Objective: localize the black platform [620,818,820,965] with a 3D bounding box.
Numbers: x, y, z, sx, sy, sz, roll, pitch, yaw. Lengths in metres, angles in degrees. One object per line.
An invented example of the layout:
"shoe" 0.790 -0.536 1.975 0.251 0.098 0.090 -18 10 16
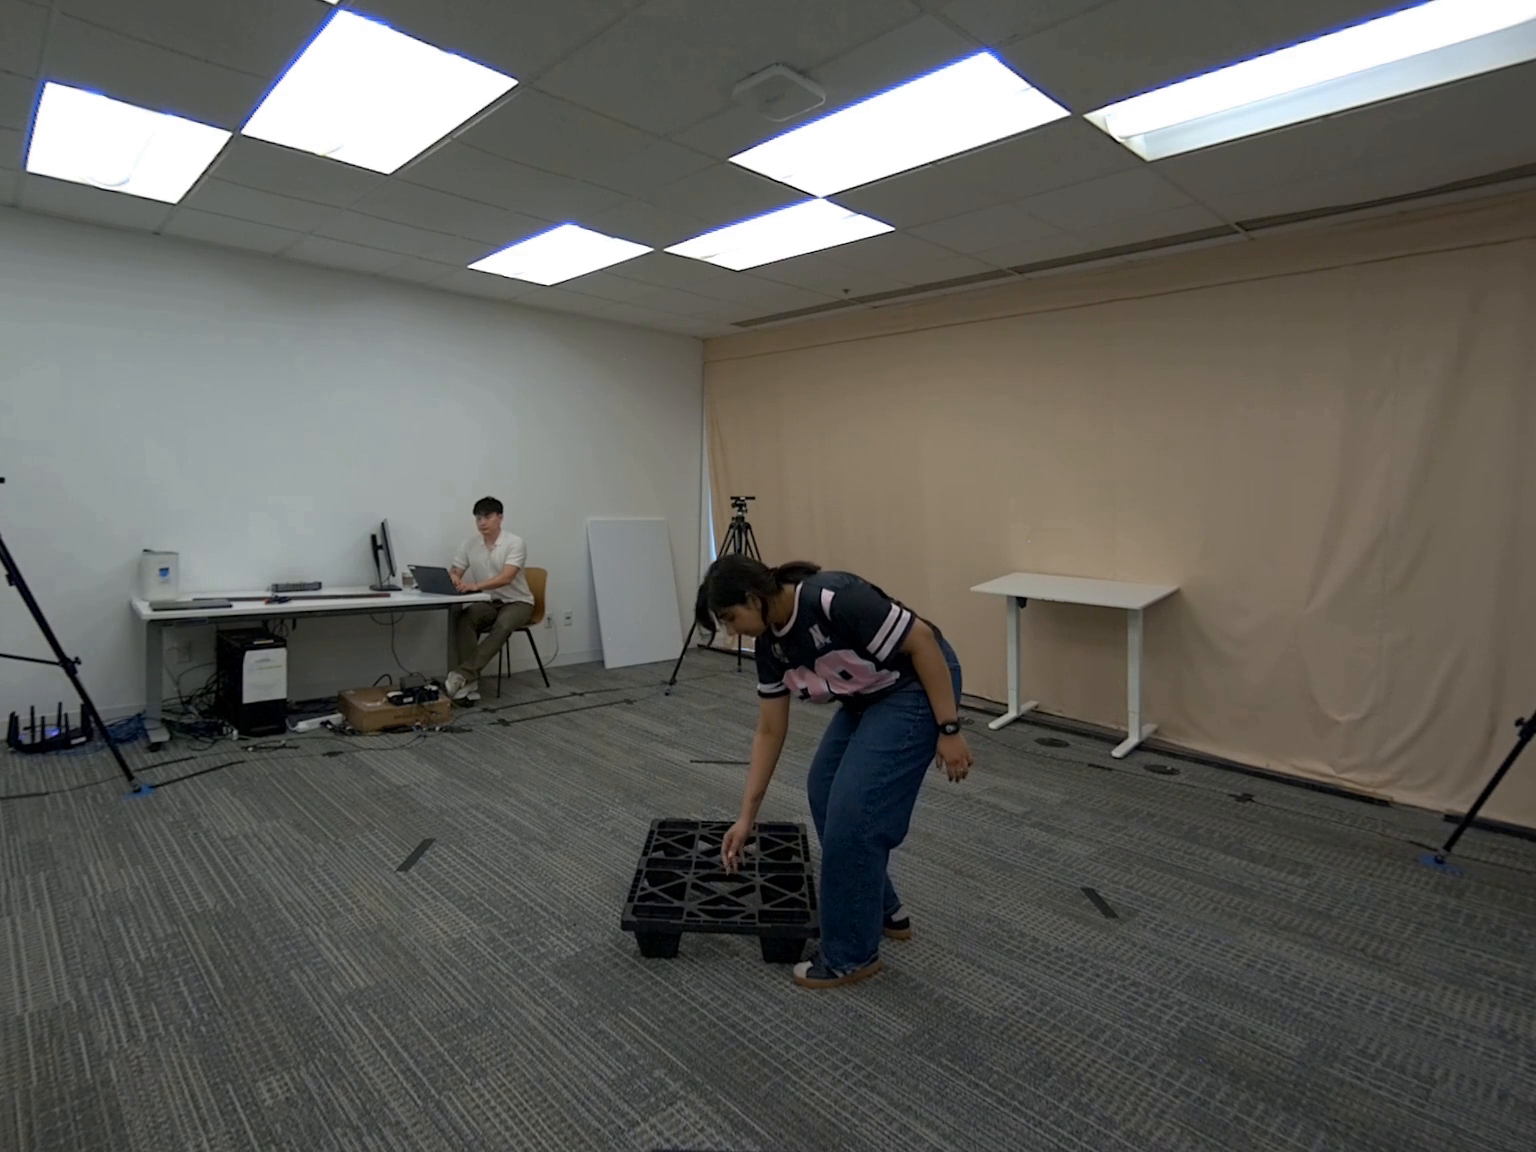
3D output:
"black platform" -0.154 1.060 2.892 0.606 0.143 0.807 2 6 0
